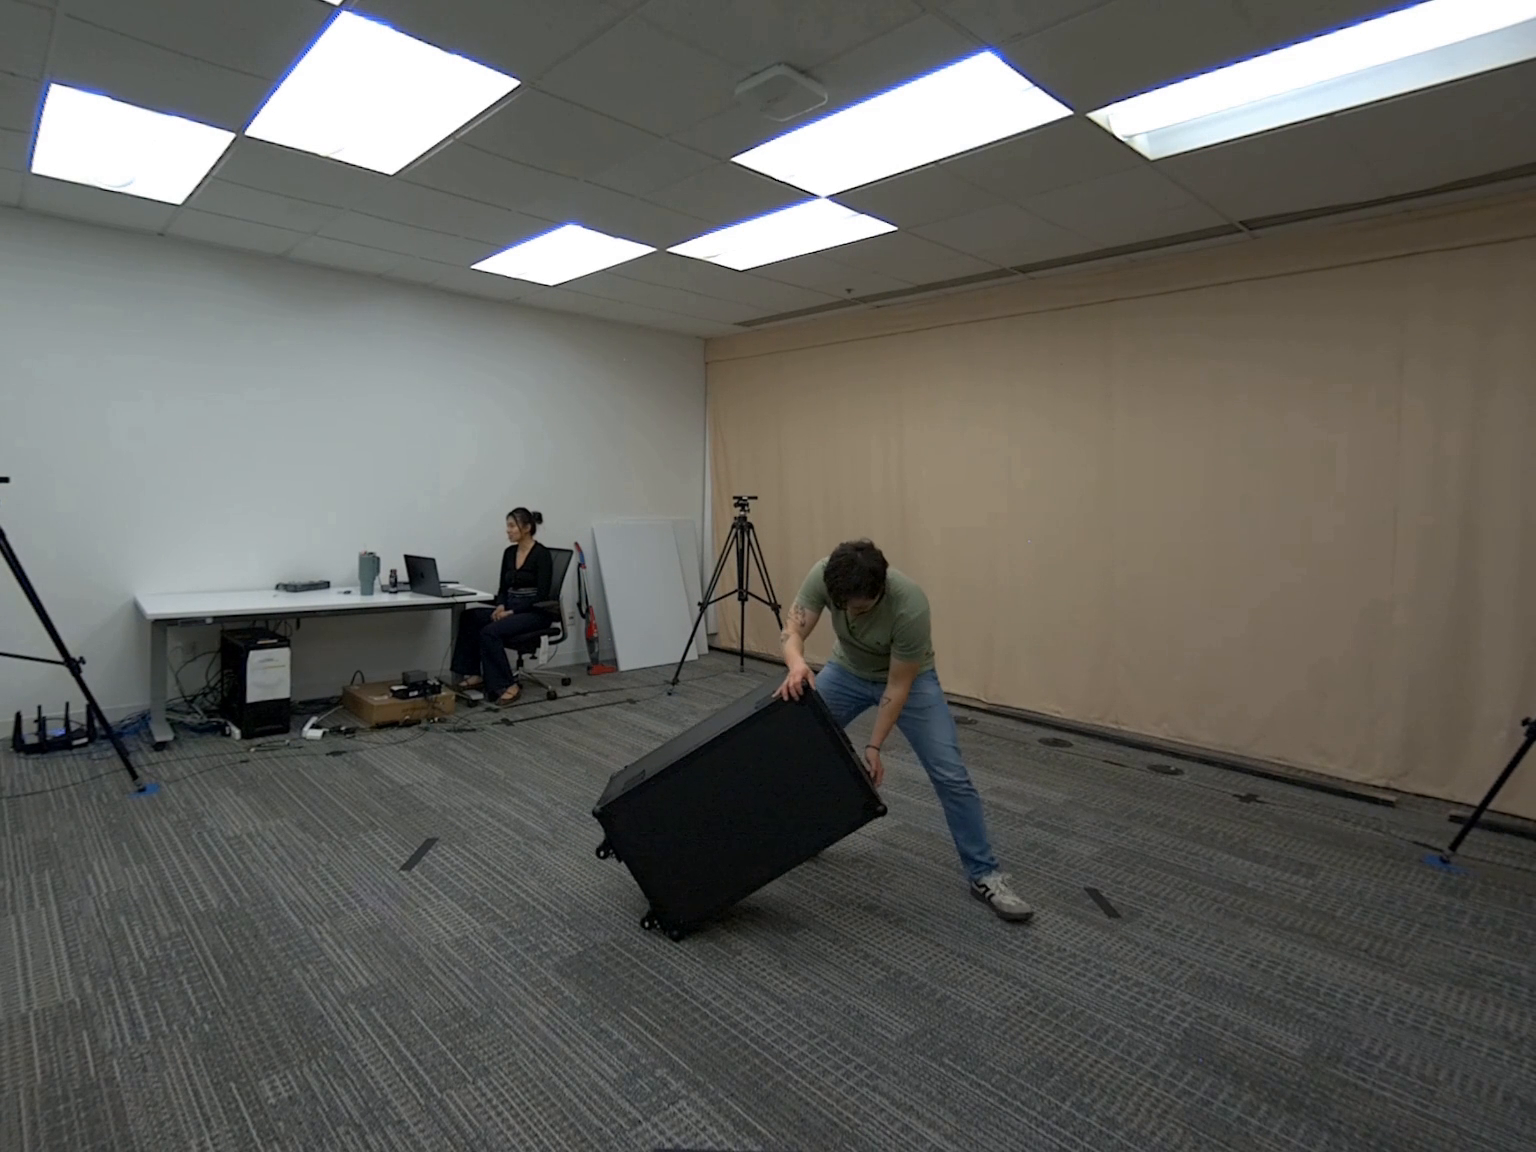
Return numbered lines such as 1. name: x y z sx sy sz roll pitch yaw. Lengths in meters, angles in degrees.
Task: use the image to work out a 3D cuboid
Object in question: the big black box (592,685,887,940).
1. big black box: -0.127 0.740 2.781 0.862 0.520 0.396 -32 2 3
